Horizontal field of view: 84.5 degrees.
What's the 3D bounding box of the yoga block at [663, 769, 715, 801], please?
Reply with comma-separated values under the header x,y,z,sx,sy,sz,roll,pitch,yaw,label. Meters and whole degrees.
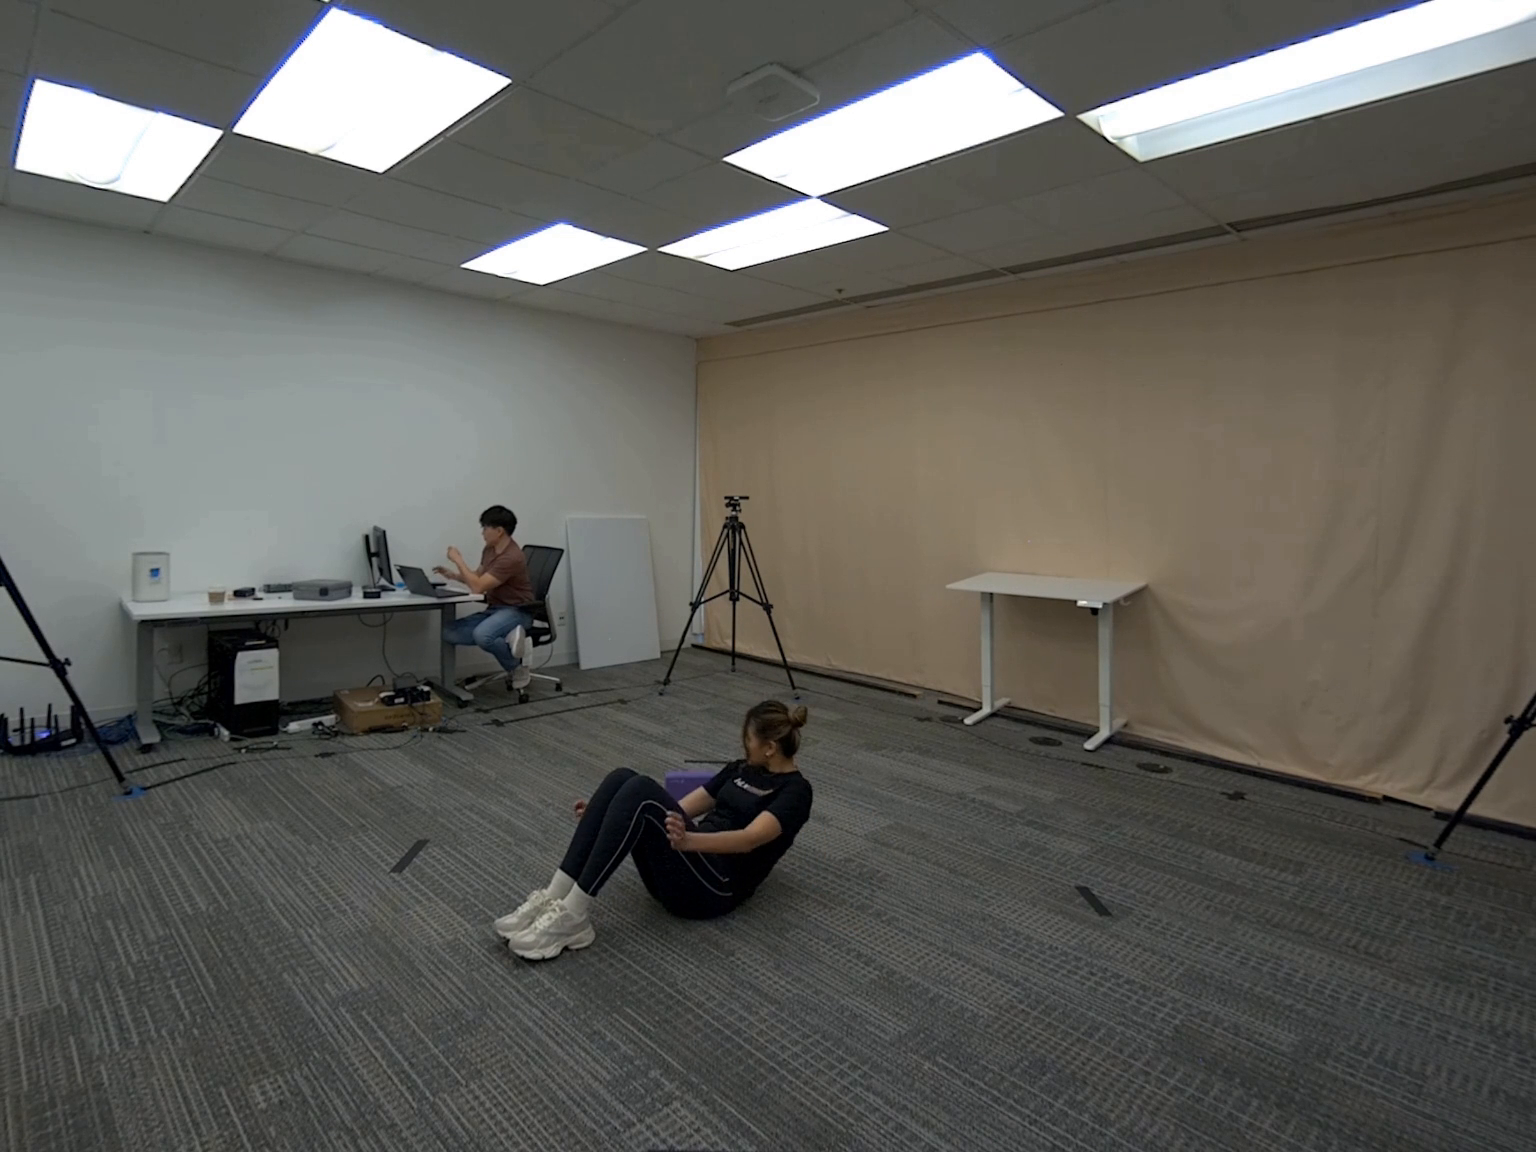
x,y,z,sx,sy,sz,roll,pitch,yaw,label
-0.352,0.962,3.797,0.228,0.149,0.077,1,2,-8,yoga block
